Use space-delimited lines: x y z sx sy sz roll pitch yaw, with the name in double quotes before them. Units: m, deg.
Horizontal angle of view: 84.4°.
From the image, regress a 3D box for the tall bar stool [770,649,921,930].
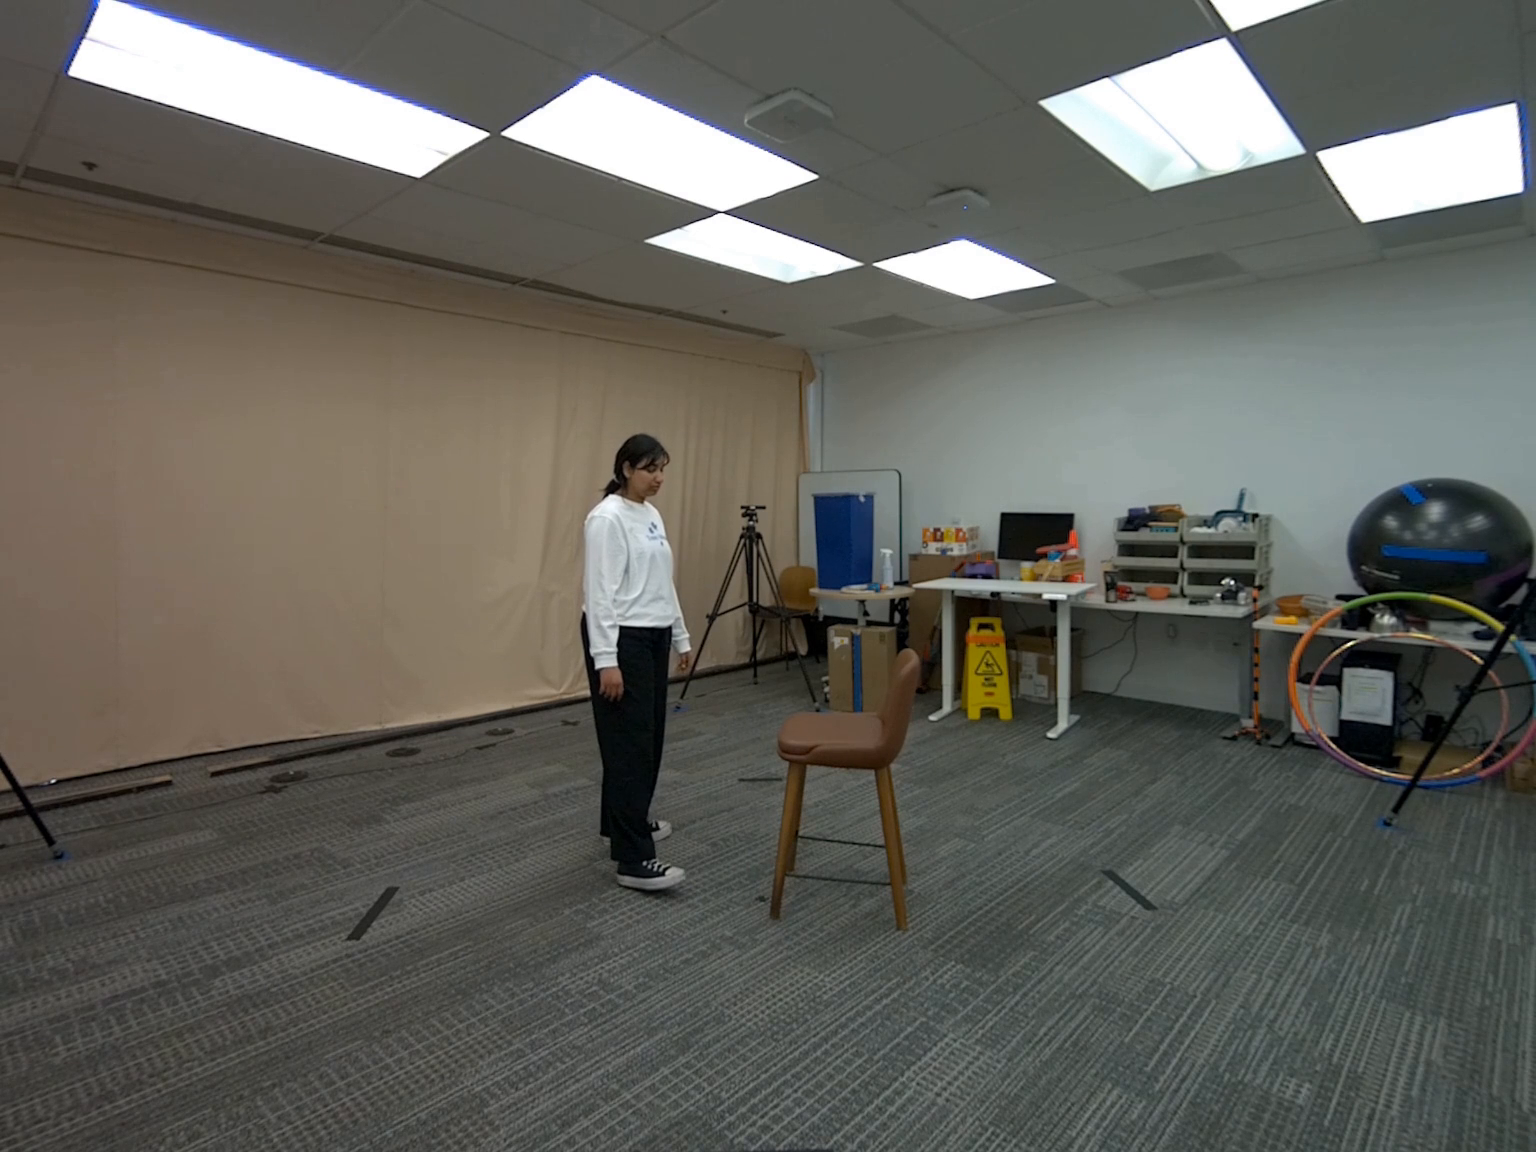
"tall bar stool" 0.275 0.710 2.959 0.474 0.888 0.451 3 4 12
